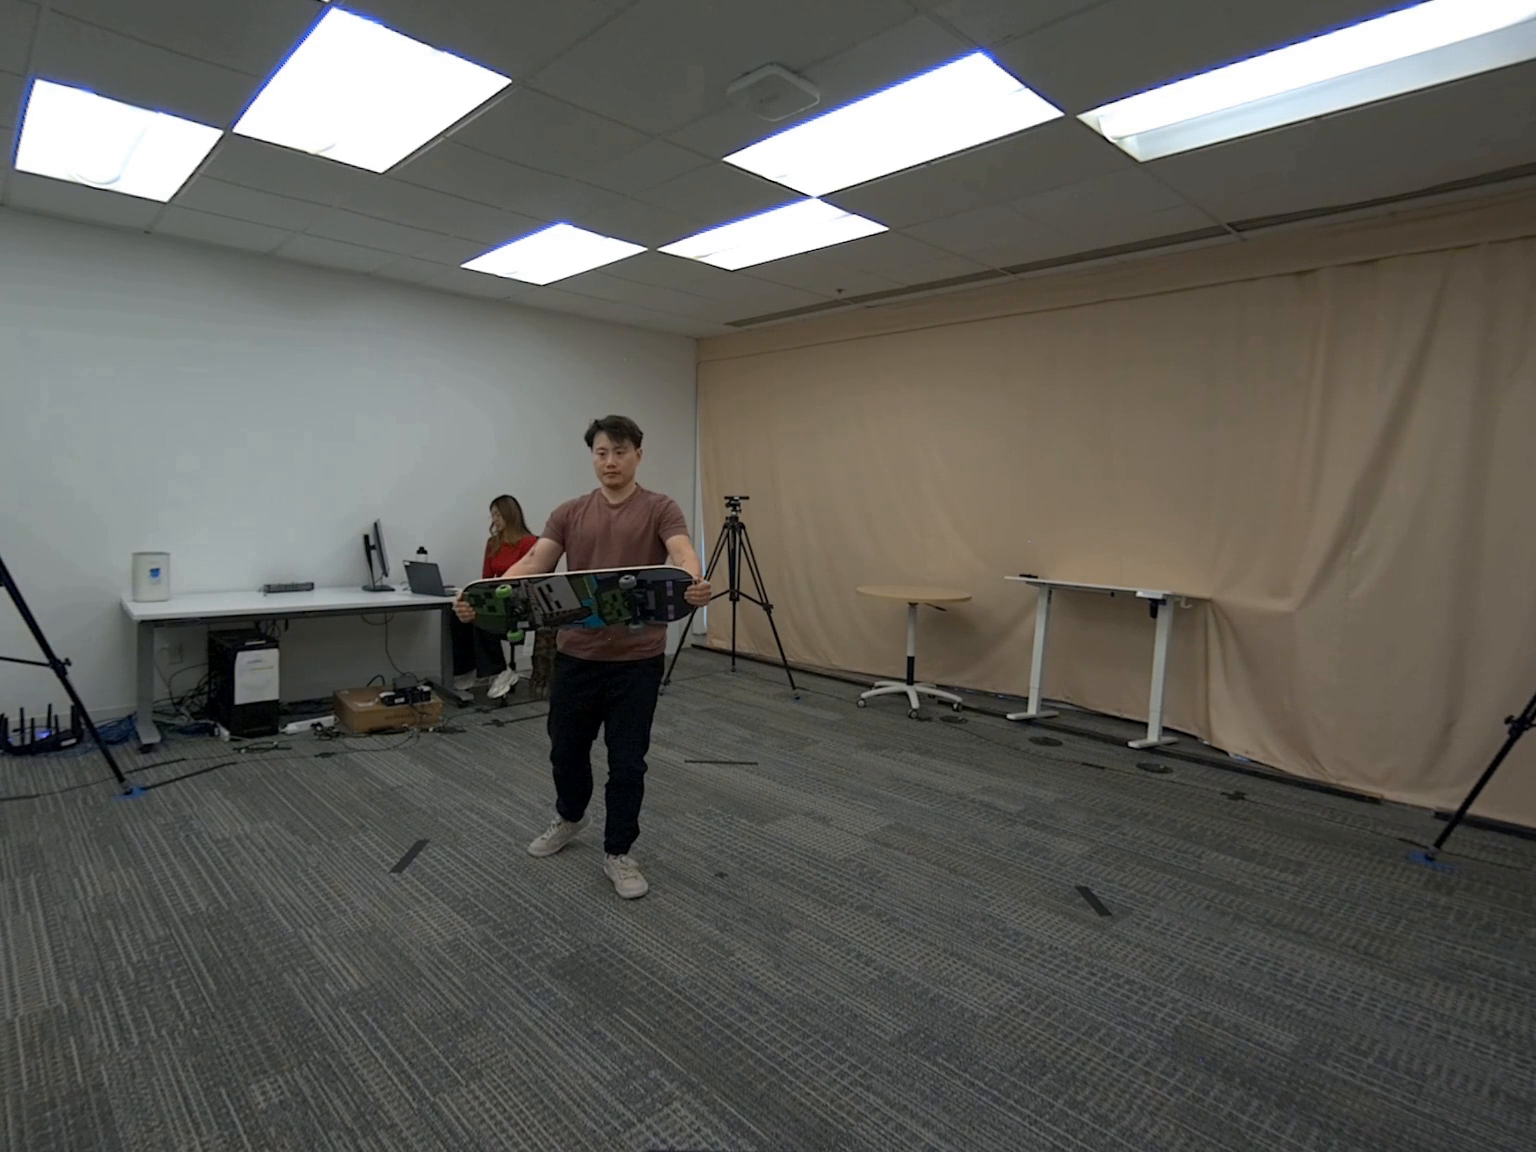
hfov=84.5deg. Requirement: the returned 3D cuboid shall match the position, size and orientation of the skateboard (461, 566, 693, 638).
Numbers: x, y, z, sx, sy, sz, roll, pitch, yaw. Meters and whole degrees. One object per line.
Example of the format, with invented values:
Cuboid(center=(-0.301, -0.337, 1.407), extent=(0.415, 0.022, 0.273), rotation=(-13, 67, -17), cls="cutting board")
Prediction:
Cuboid(center=(-0.591, 0.097, 2.598), extent=(0.791, 0.190, 0.112), rotation=(-4, 26, 10), cls="skateboard")
